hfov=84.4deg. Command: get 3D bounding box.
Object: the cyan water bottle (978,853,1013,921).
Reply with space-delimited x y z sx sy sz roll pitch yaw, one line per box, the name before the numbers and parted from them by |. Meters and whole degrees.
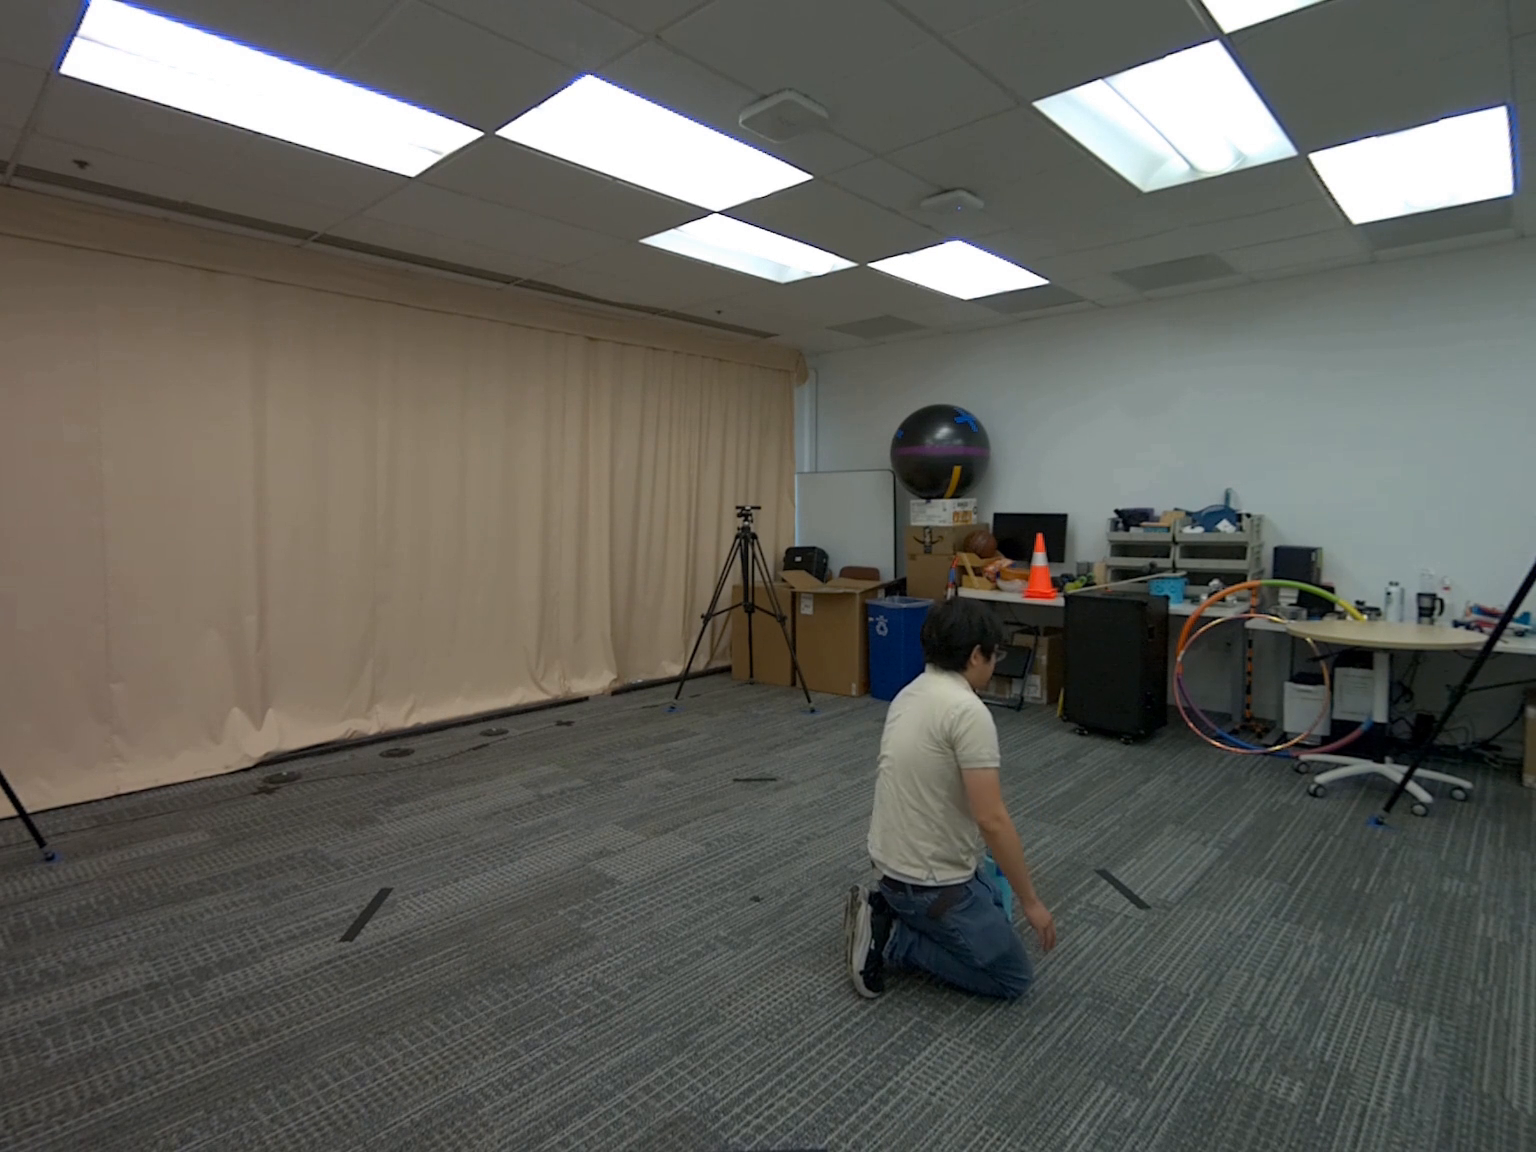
cyan water bottle | 0.775 1.022 2.795 0.092 0.283 0.092 0 3 -2
